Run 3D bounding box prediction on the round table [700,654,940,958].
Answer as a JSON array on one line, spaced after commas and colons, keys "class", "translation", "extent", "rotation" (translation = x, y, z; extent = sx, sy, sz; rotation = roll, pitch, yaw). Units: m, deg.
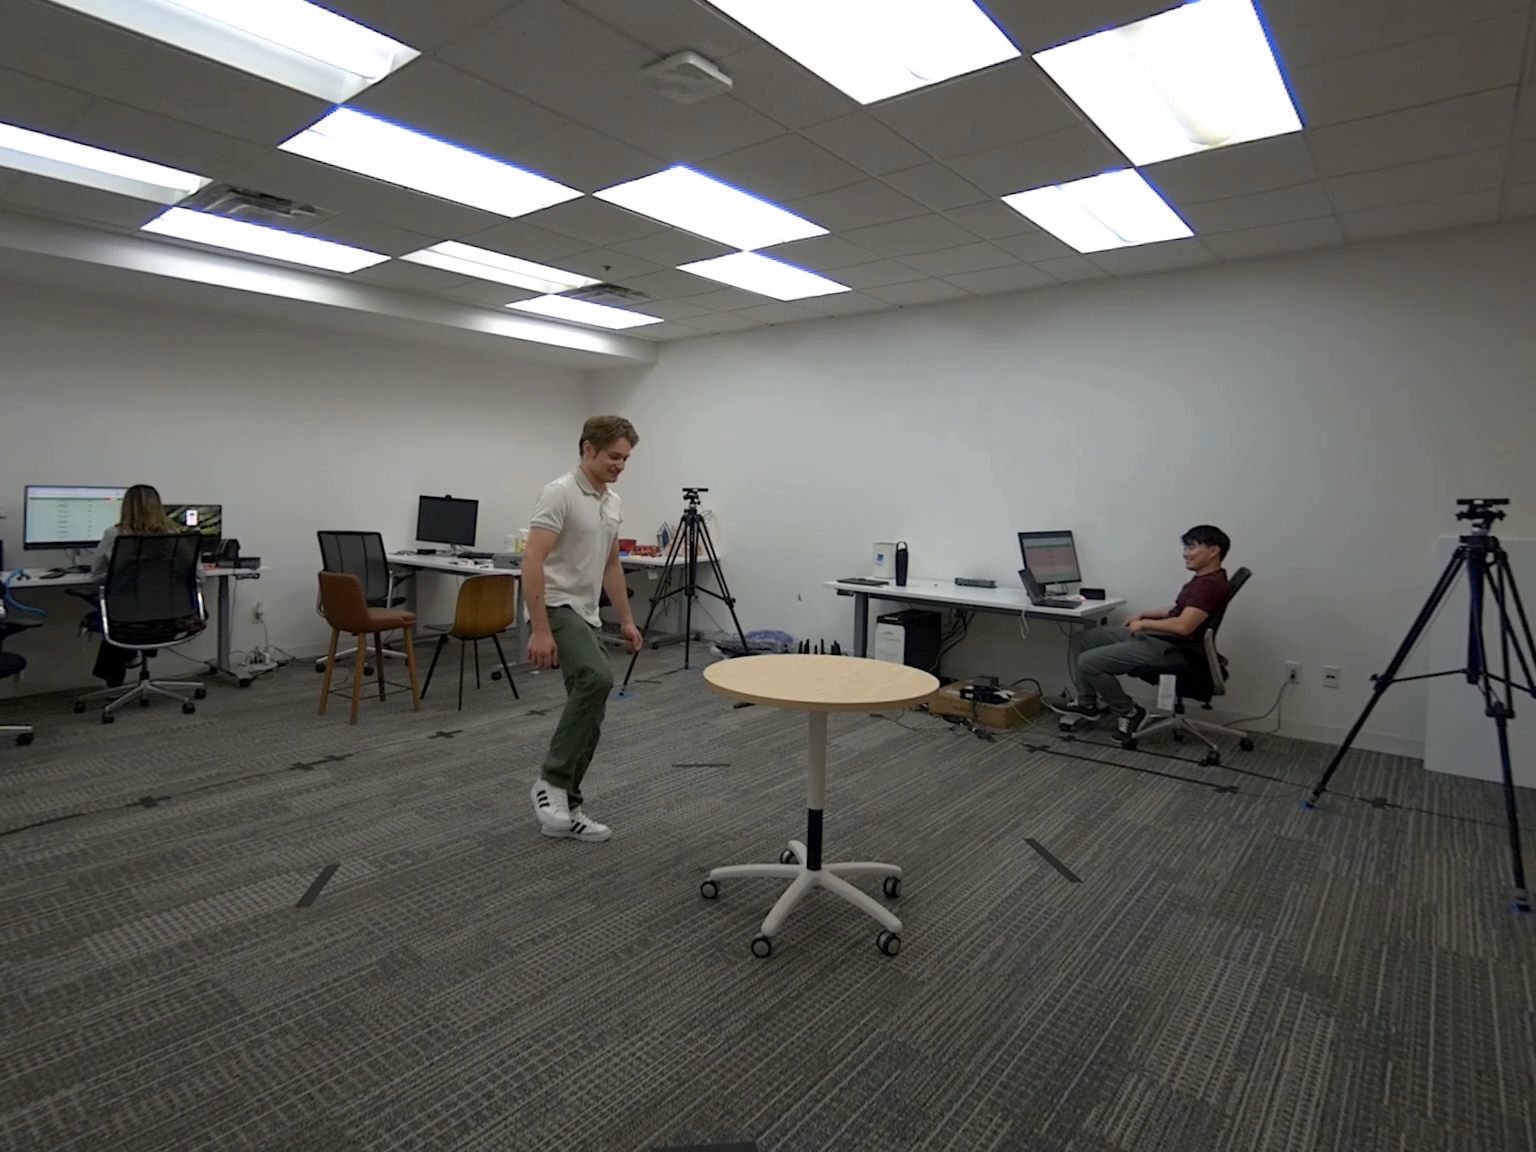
[{"class": "round table", "translation": [0.145, 0.717, 2.807], "extent": [0.763, 0.792, 0.767], "rotation": [1, 4, -2]}]
